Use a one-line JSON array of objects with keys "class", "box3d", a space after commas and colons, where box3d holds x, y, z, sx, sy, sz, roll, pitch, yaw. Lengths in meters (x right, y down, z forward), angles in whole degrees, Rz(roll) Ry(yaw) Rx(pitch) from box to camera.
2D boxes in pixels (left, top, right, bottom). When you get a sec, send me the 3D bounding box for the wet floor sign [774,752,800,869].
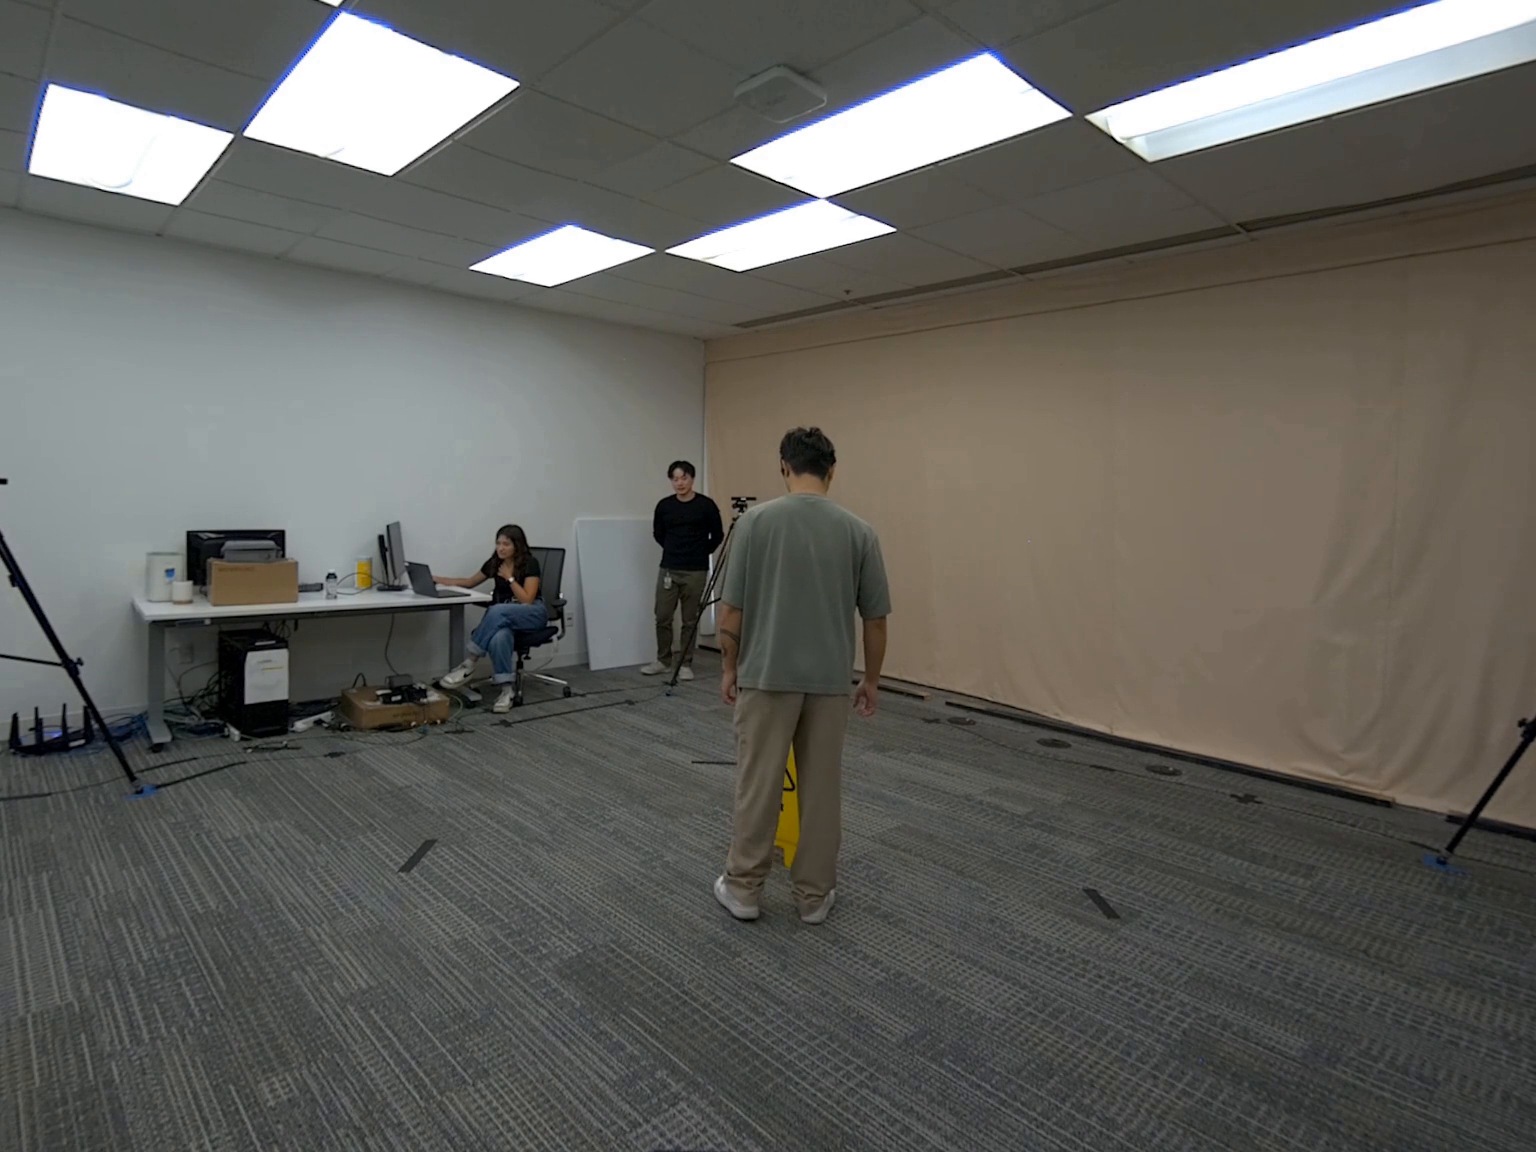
[{"class": "wet floor sign", "box3d": [0.013, 0.772, 3.309, 0.284, 0.645, 0.287, 2, 1, 9]}]
